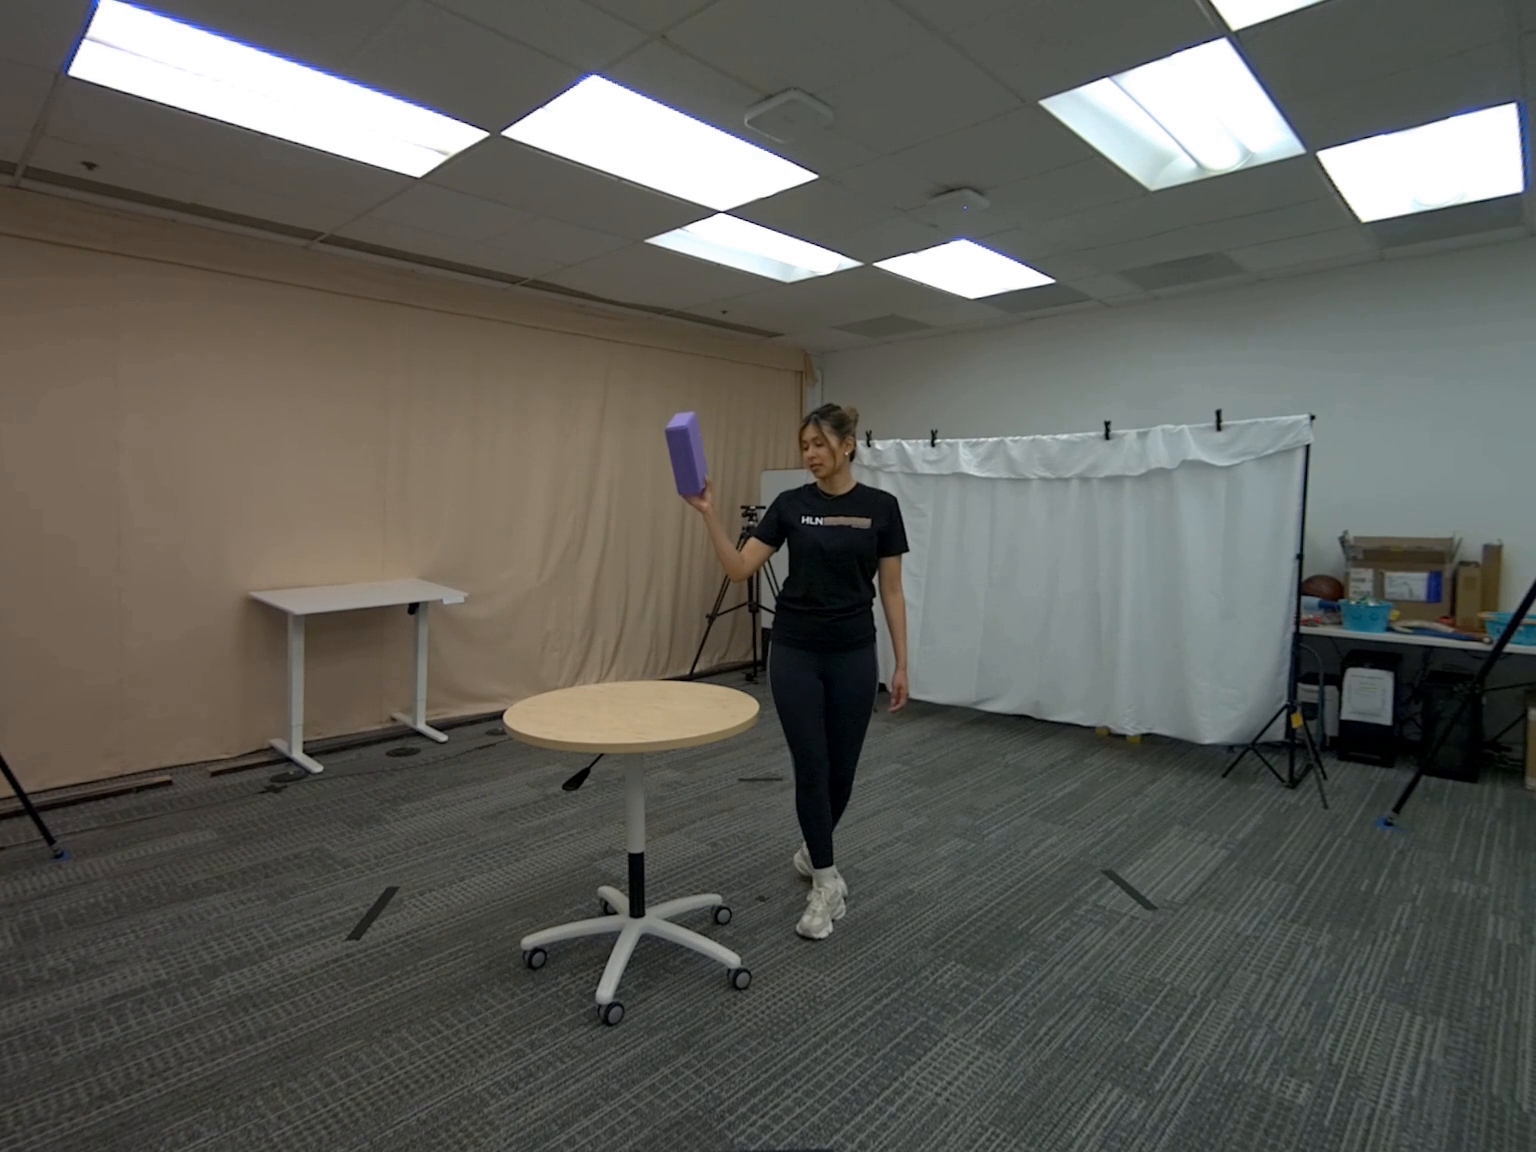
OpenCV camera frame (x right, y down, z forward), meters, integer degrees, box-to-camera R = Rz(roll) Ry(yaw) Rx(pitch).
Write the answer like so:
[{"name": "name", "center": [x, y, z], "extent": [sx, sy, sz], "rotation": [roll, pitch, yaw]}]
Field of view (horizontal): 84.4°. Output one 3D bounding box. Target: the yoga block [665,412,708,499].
[{"name": "yoga block", "center": [-0.252, -0.395, 2.663], "extent": [0.077, 0.225, 0.150], "rotation": [-3, 26, 9]}]
